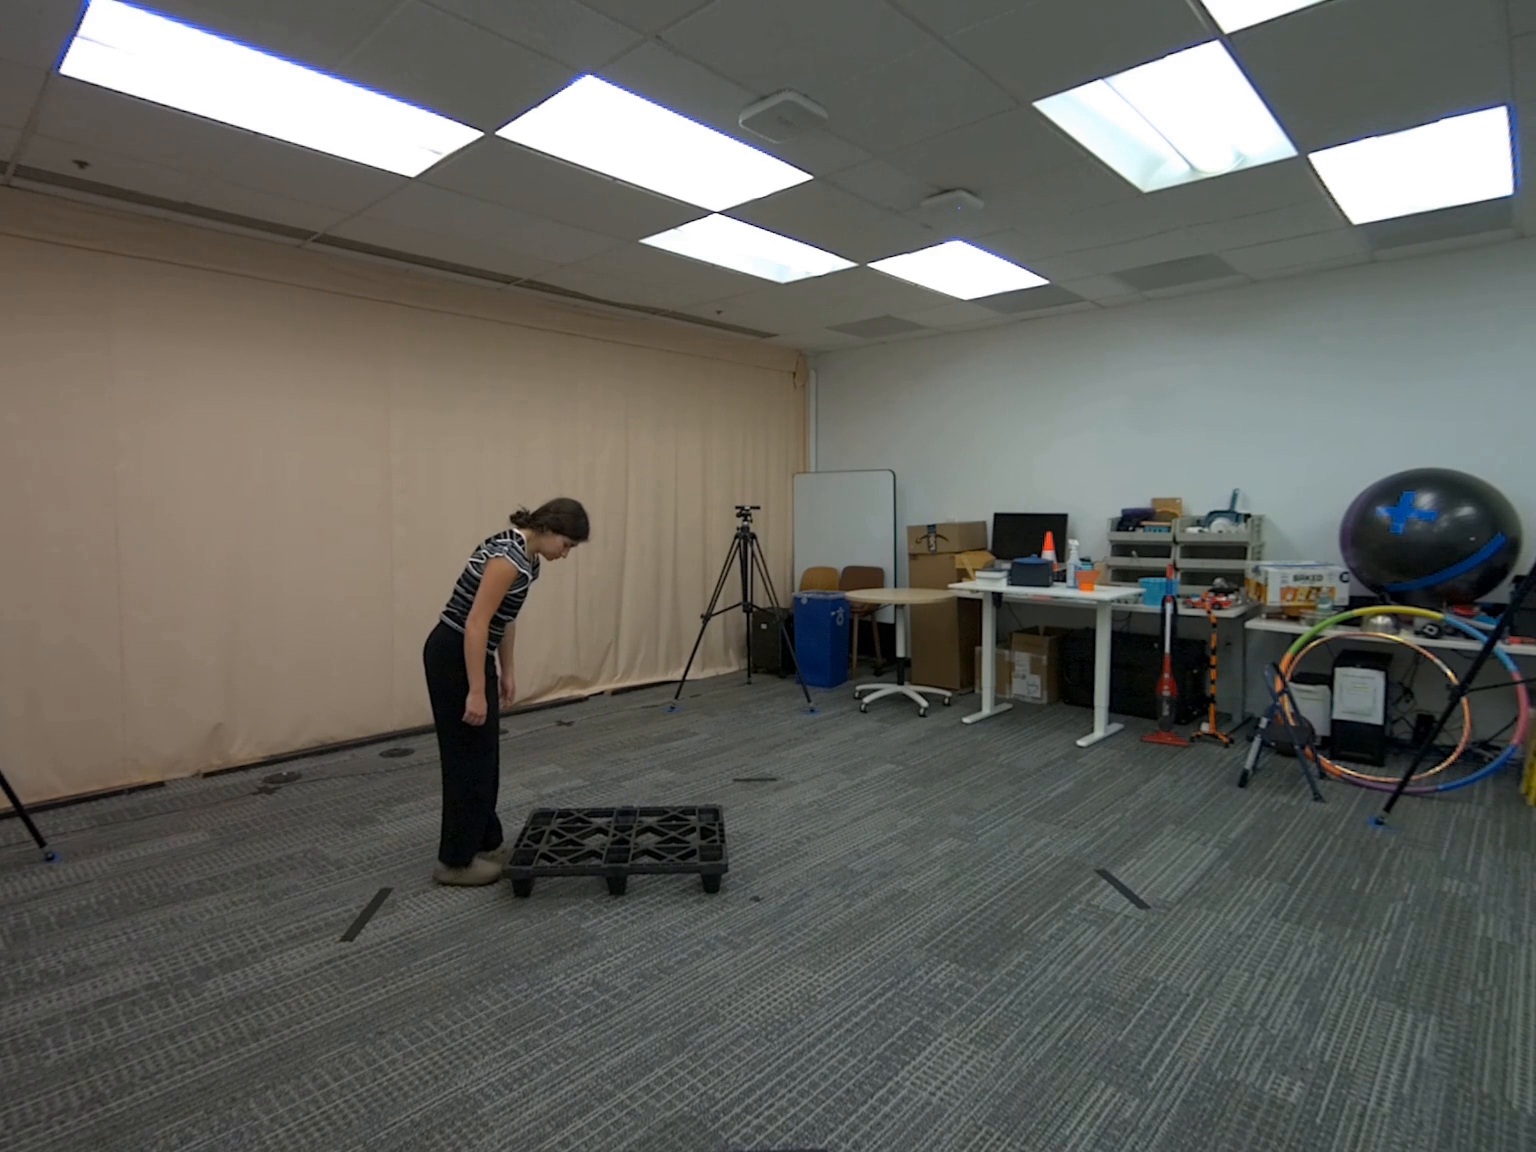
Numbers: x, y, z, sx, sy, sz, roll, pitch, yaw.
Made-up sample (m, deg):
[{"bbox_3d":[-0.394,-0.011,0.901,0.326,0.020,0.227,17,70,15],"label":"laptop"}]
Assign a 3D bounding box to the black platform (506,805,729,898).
[{"bbox_3d":[-0.563,1.058,3.246,0.804,0.143,0.608,-1,4,-3],"label":"black platform"}]
